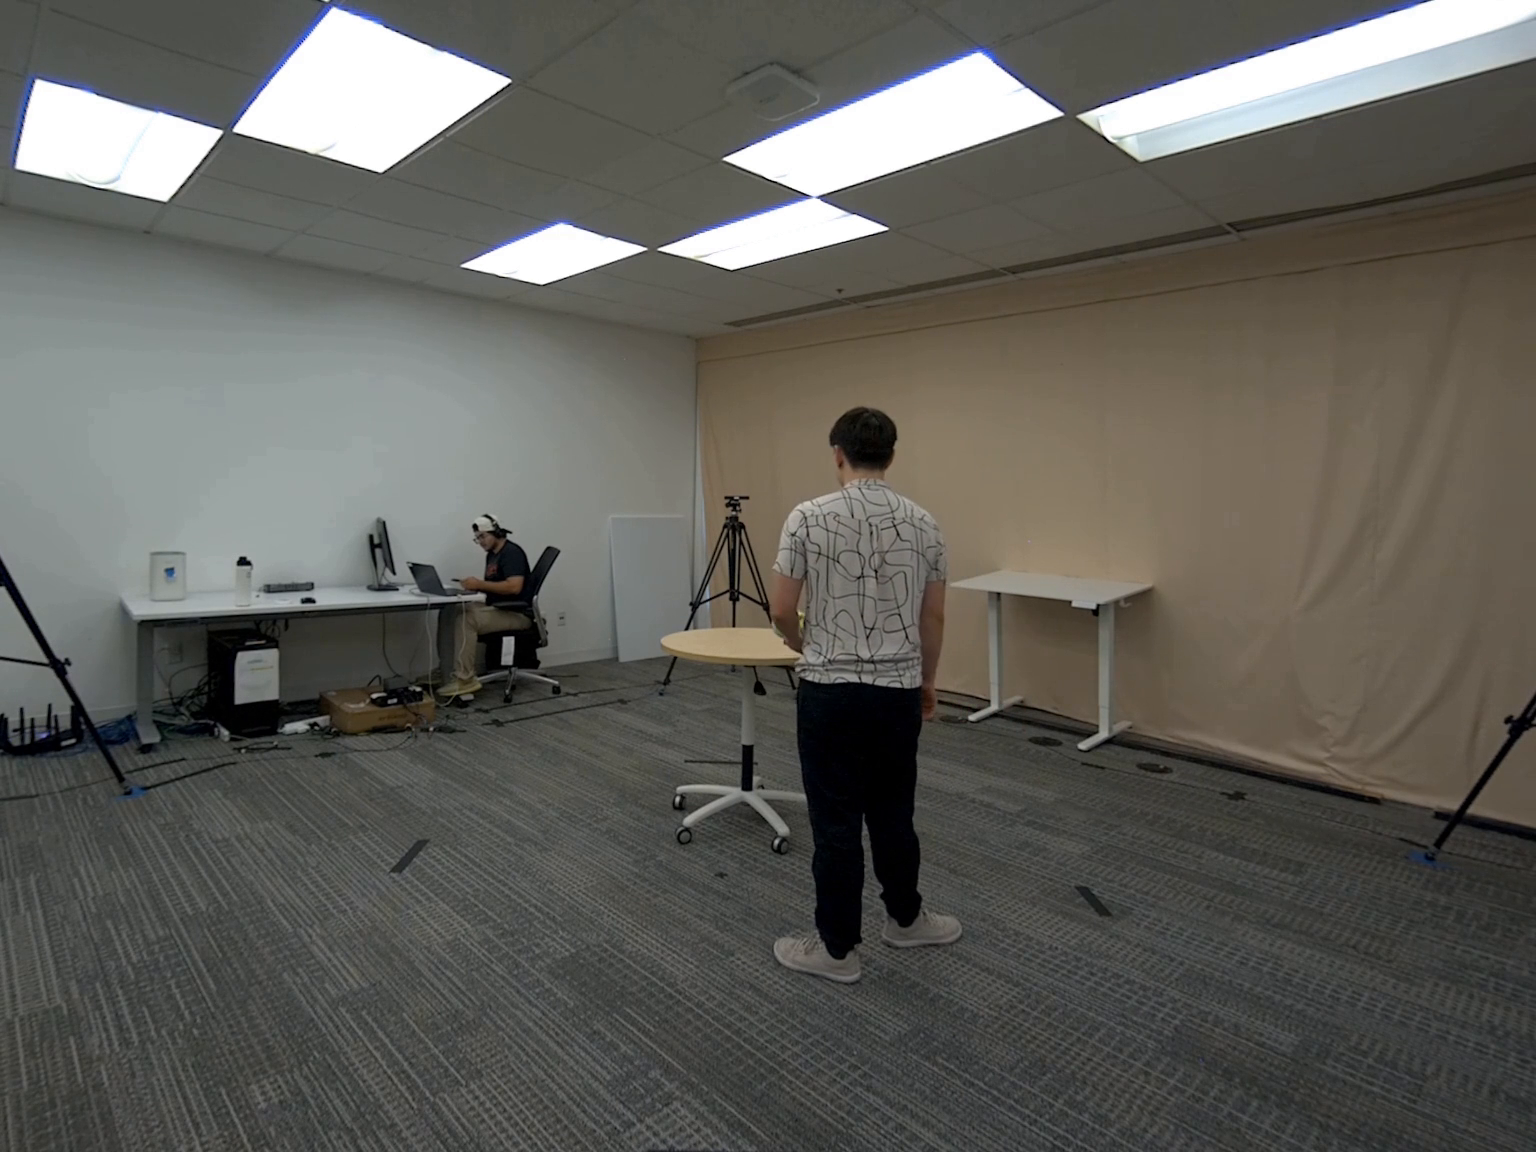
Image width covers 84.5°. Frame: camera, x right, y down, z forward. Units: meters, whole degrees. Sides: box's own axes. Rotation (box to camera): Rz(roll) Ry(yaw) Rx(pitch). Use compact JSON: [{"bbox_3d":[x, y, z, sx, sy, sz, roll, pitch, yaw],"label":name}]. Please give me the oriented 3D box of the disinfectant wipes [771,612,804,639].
[{"bbox_3d":[0.120,0.179,2.792,0.115,0.117,0.224,-1,14,-32],"label":"disinfectant wipes"}]
